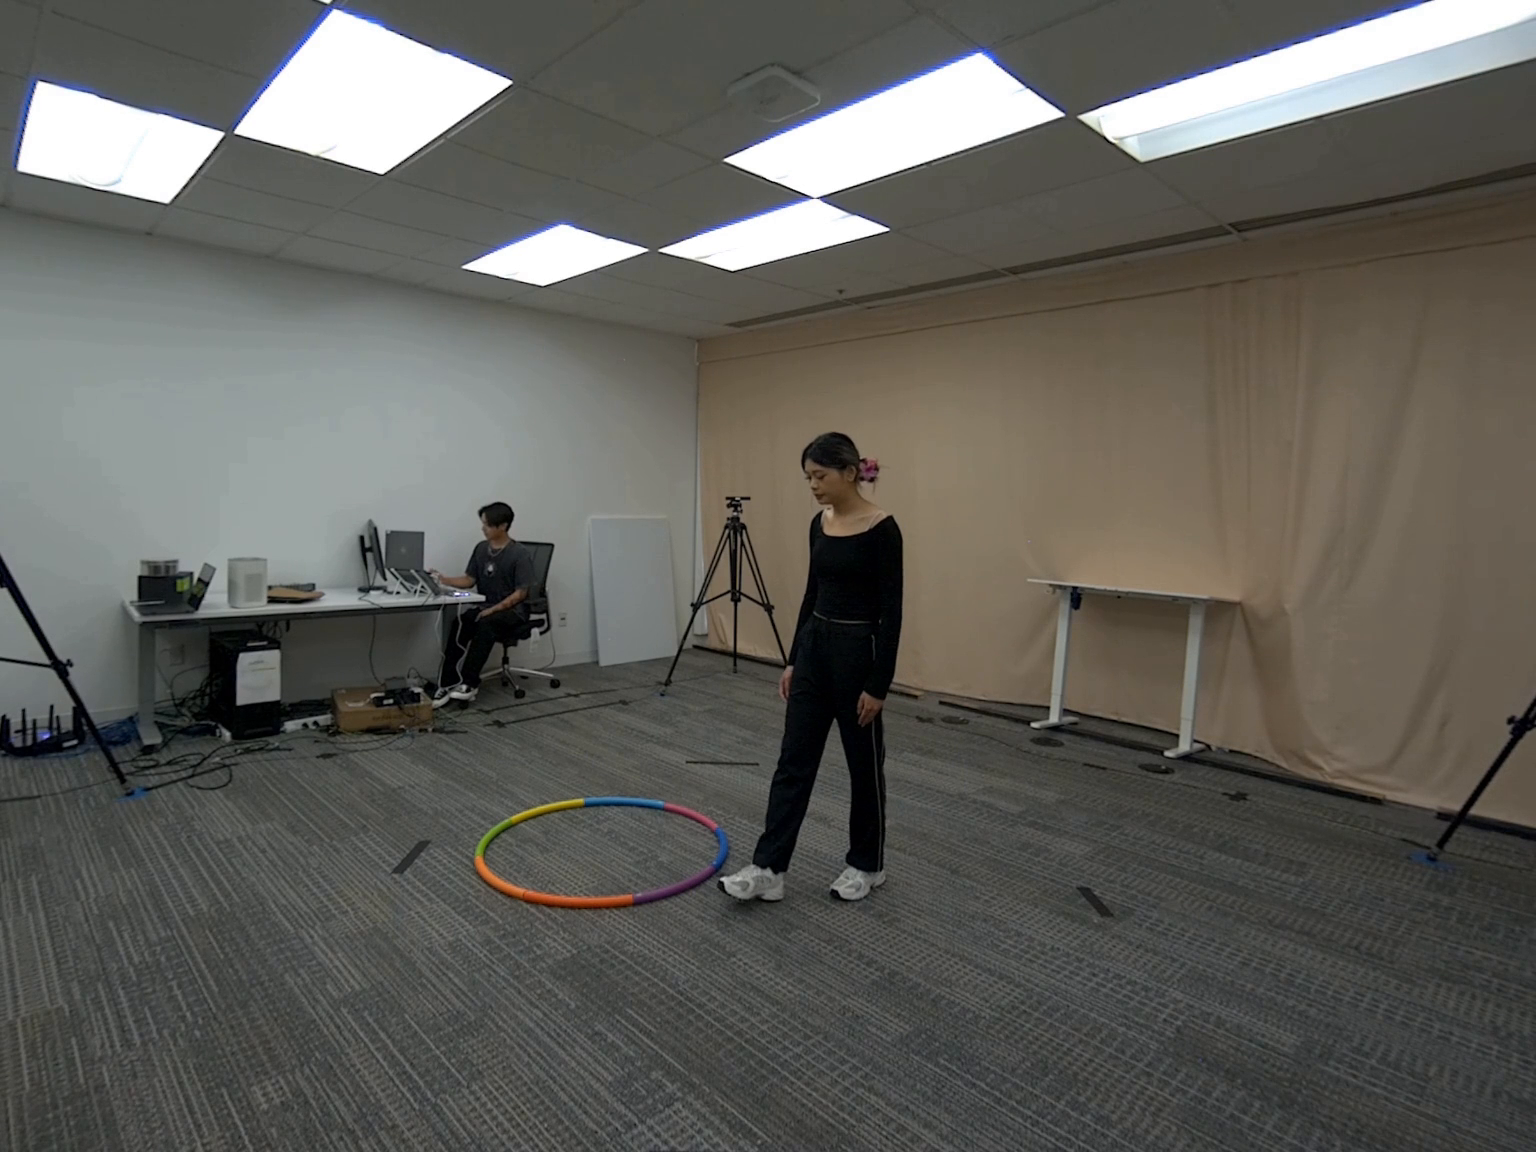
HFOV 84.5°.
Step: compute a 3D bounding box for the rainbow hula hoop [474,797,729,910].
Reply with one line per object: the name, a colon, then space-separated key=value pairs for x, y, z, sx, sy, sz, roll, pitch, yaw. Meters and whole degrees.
rainbow hula hoop: x=-0.648 y=1.047 z=3.316 sx=0.978 sy=0.035 sz=0.982 roll=2 pitch=5 yaw=-1
